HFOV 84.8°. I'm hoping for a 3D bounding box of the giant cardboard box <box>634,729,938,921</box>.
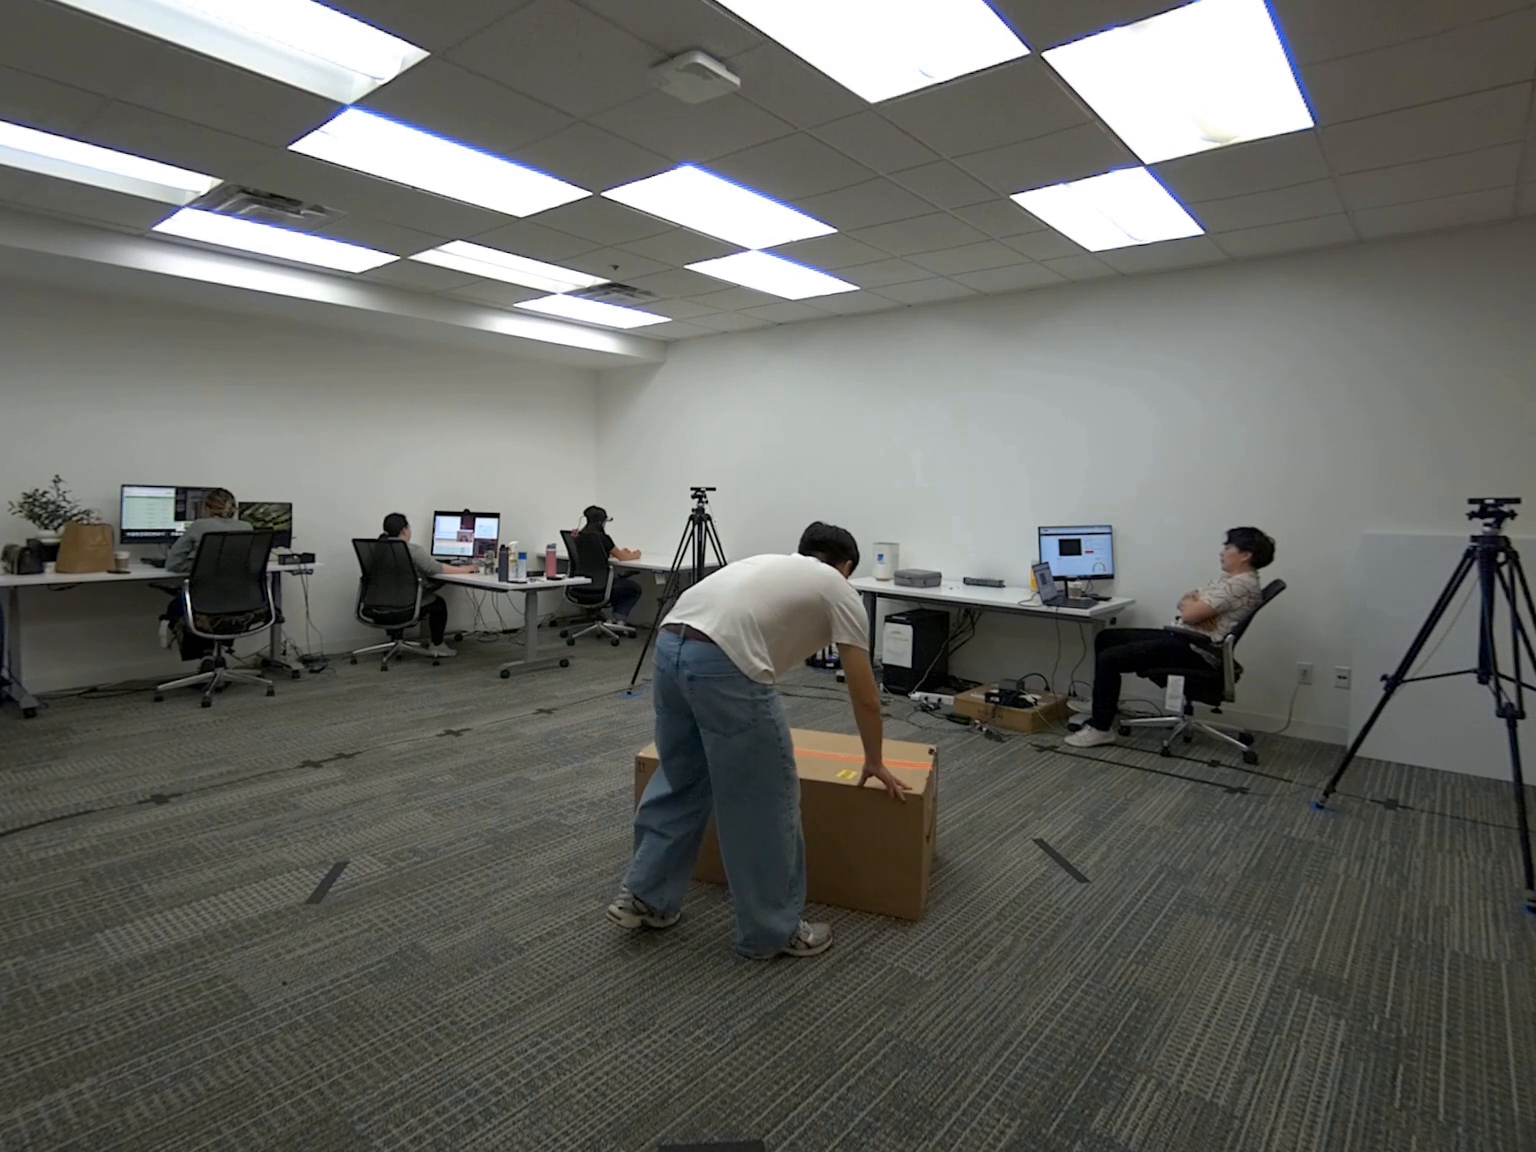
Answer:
[{"bbox_3d":[0.073,0.850,3.175,1.047,0.424,0.569,3,6,18],"label":"giant cardboard box"}]
